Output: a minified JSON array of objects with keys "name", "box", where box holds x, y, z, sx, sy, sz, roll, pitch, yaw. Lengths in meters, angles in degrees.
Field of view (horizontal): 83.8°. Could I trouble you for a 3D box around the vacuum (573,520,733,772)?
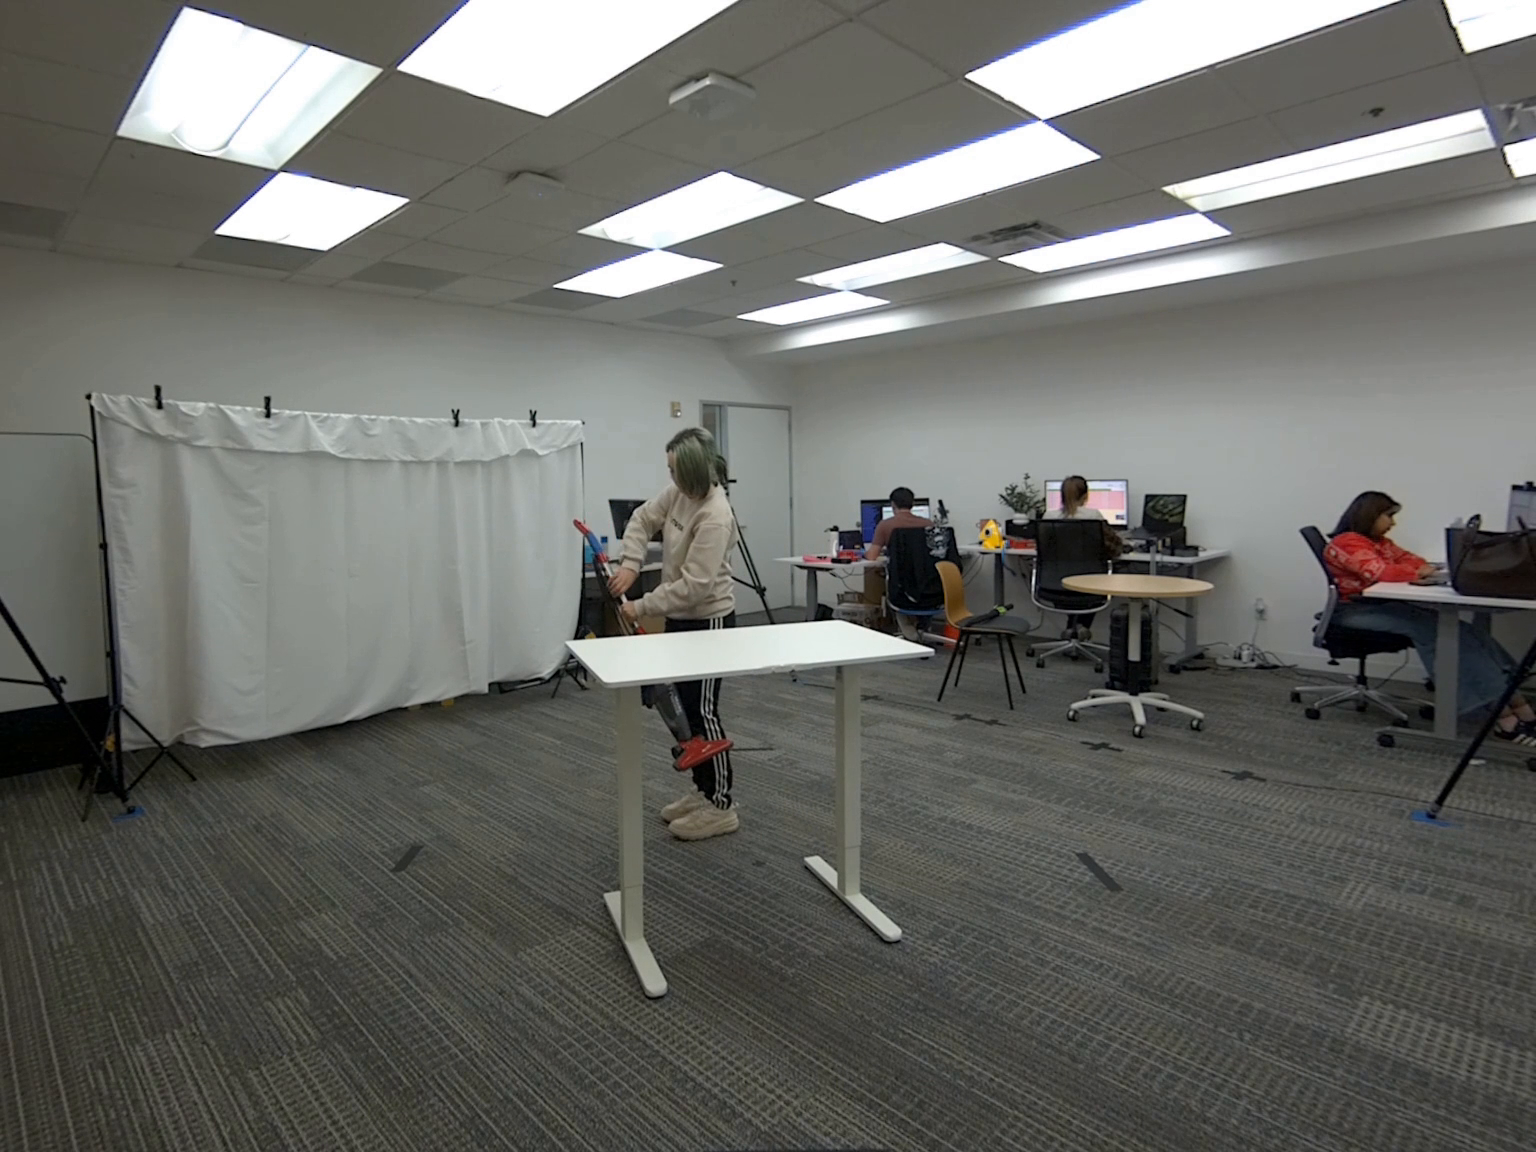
[{"name":"vacuum","box":[-0.519,0.225,3.325,0.248,1.071,0.143,-19,-20,-35]}]
